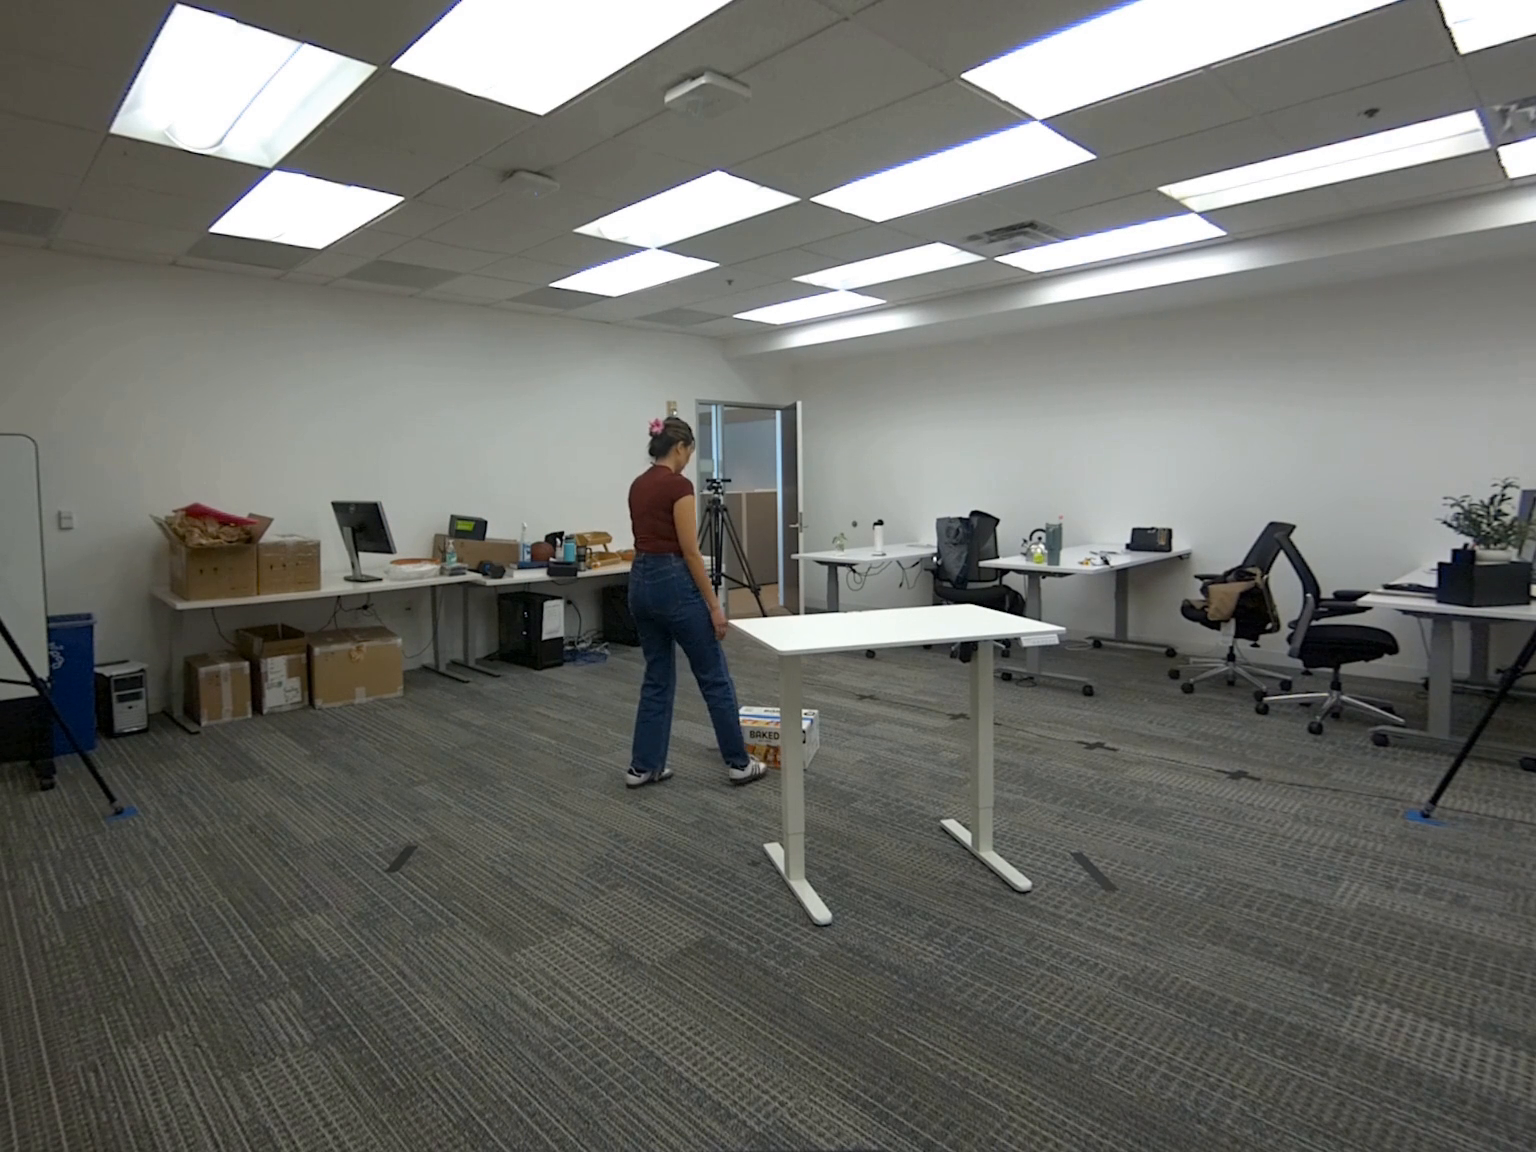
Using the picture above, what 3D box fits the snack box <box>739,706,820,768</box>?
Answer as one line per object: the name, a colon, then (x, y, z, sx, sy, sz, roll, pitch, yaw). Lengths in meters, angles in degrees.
snack box: (0.024, 0.811, 4.314, 0.411, 0.205, 0.337, 0, 6, 15)
